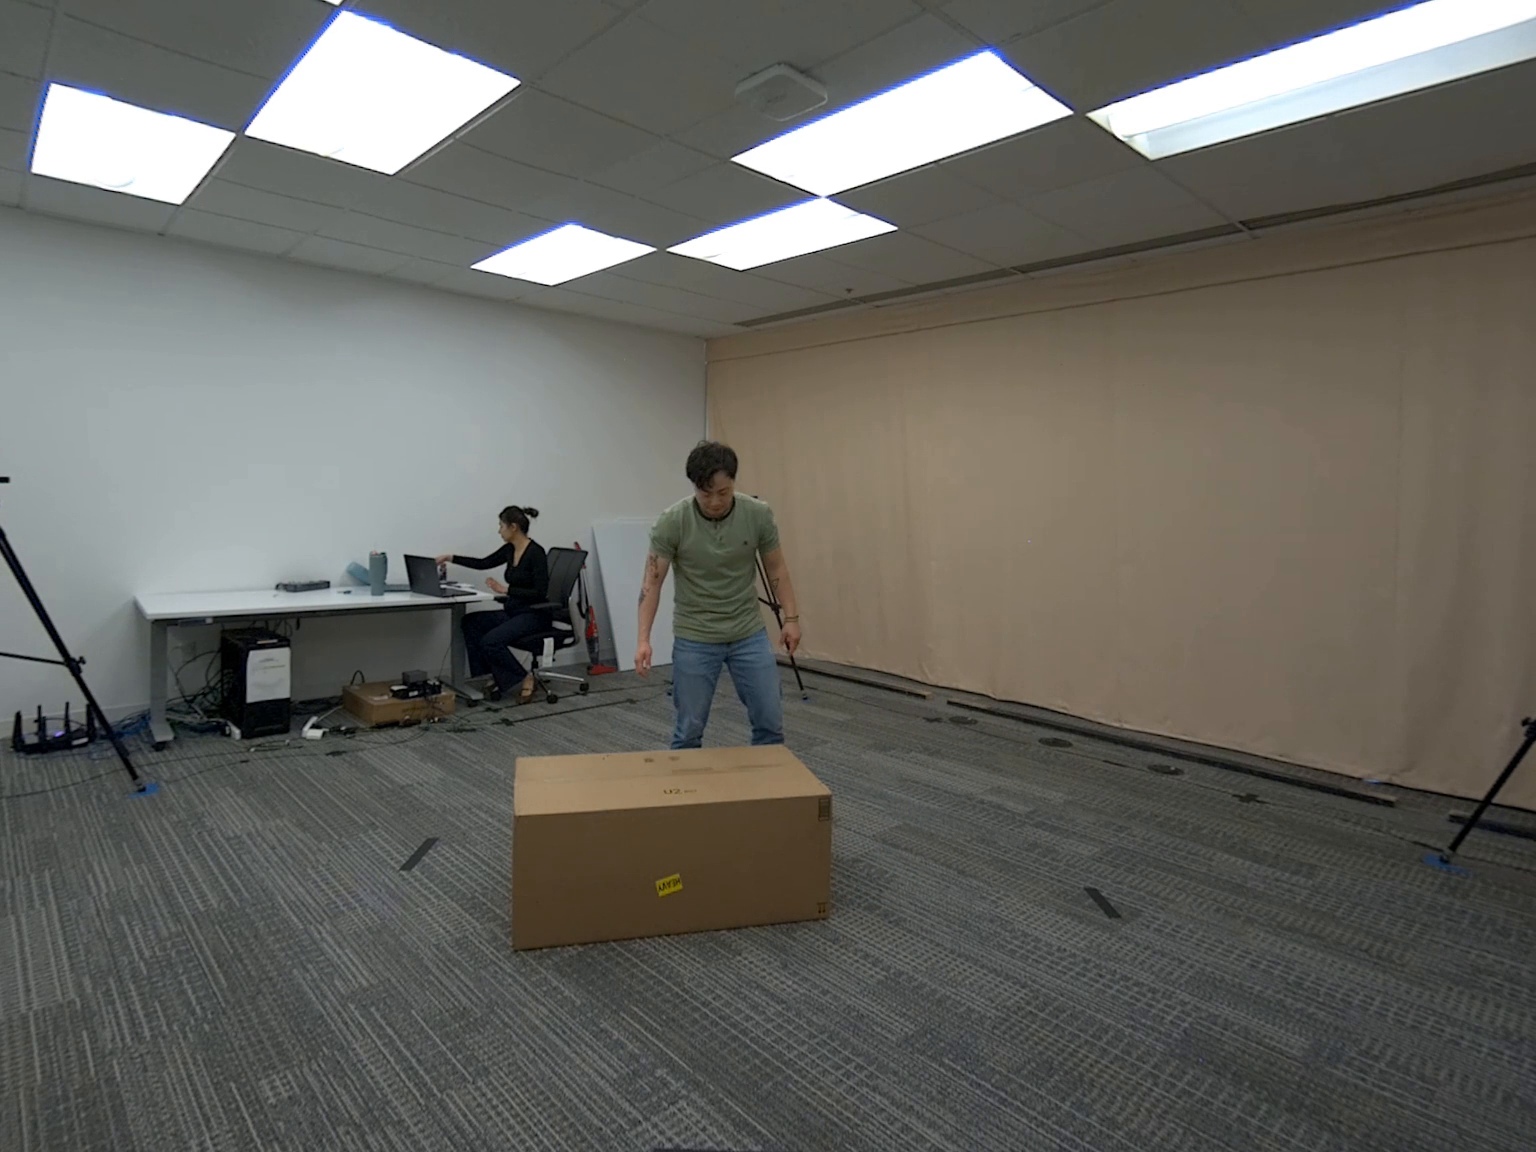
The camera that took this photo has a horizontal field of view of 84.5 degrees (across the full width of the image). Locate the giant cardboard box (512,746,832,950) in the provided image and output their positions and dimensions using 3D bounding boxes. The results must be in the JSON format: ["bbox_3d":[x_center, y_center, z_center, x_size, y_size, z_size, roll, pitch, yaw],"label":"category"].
[{"bbox_3d":[-0.364,0.901,2.930,1.014,0.425,0.586,0,4,-15],"label":"giant cardboard box"}]
